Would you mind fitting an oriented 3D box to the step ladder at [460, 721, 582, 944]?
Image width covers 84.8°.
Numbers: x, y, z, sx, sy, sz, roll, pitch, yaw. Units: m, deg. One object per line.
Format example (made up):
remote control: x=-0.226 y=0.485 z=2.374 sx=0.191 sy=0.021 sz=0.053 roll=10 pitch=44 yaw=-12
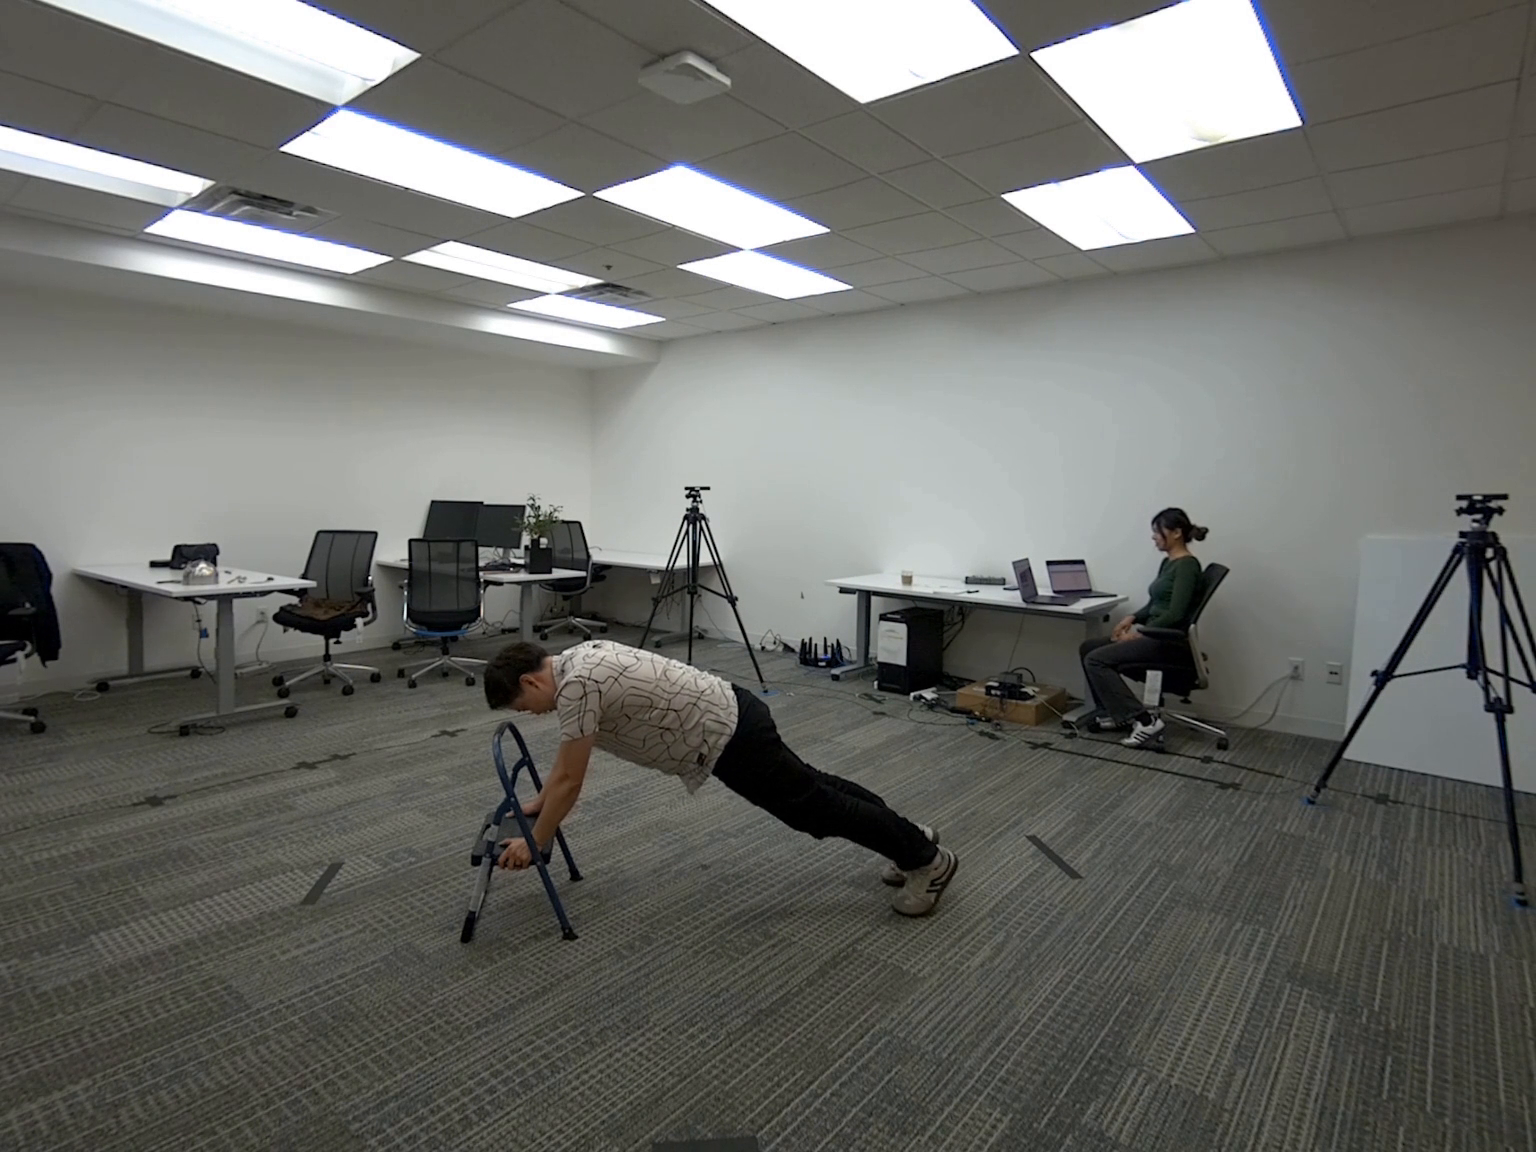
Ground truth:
step ladder: x=-0.806 y=0.791 z=2.779 sx=0.346 sy=0.604 sz=0.436 roll=0 pitch=4 yaw=-9
